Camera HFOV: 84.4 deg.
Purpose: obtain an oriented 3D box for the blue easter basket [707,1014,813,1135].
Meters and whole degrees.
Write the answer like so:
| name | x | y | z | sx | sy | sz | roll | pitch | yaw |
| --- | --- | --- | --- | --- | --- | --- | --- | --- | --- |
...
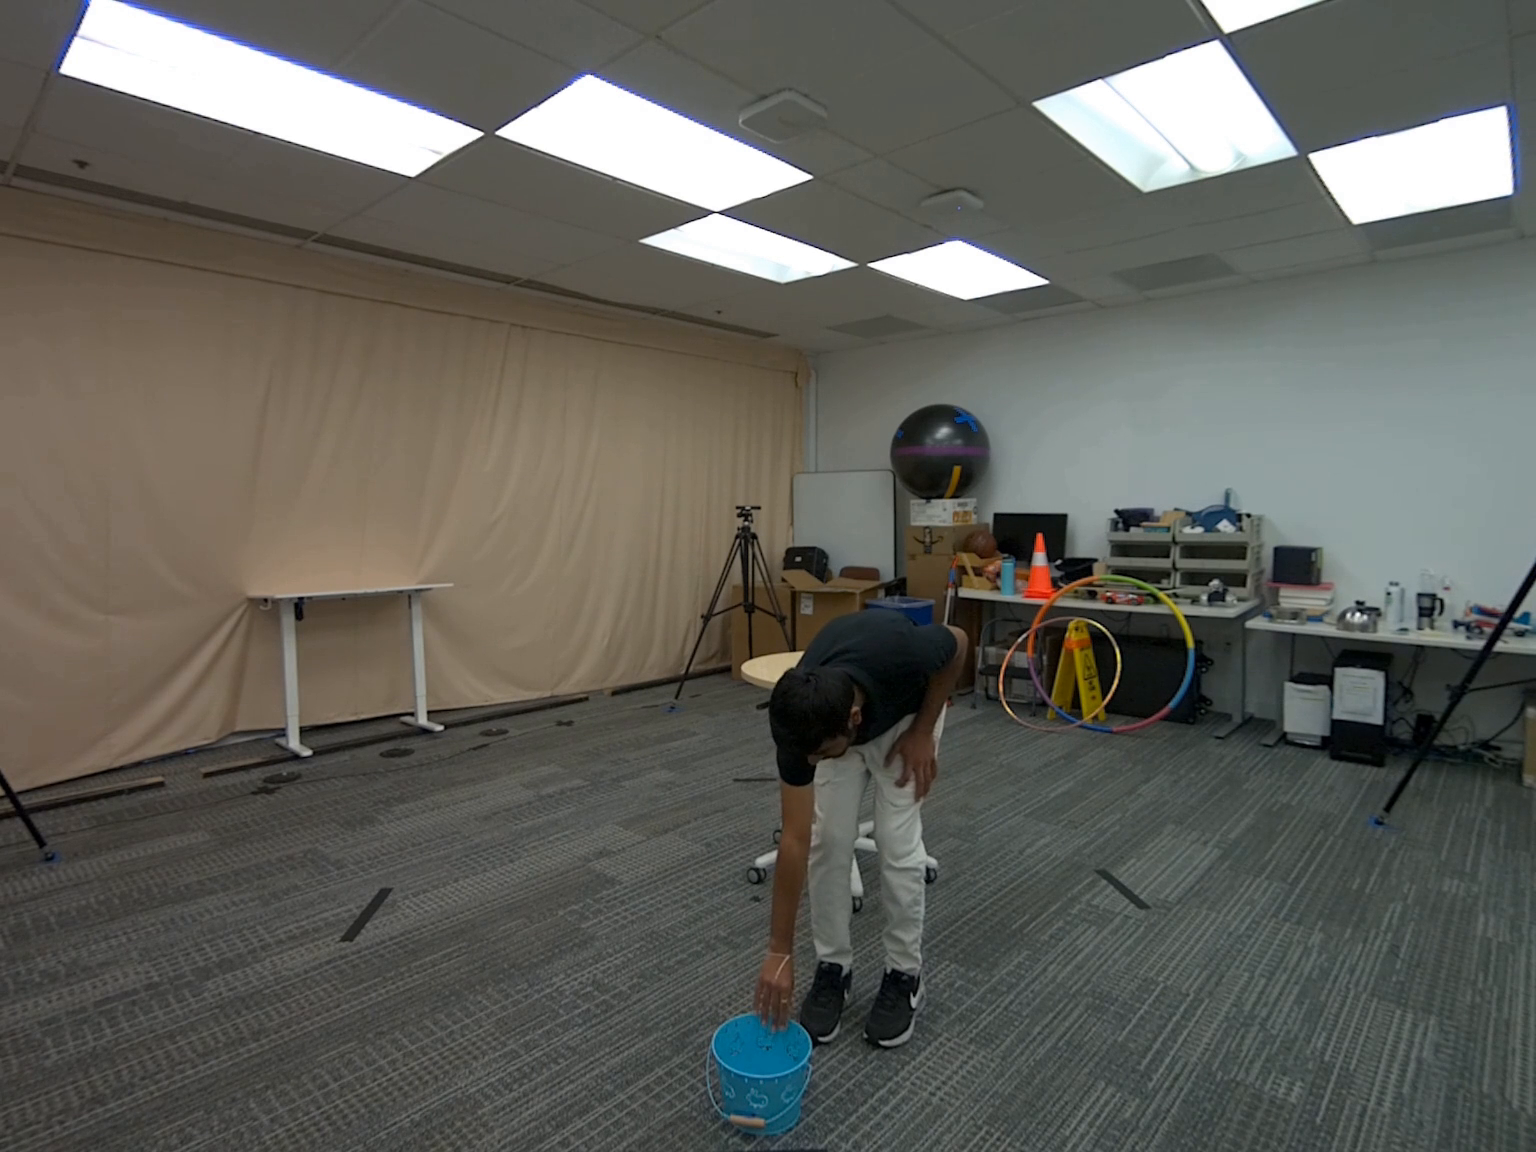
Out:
| name | x | y | z | sx | sy | sz | roll | pitch | yaw |
| --- | --- | --- | --- | --- | --- | --- | --- | --- | --- |
| blue easter basket | -0.015 | 1.157 | 1.943 | 0.243 | 0.155 | 0.244 | 0 | 3 | -2 |
